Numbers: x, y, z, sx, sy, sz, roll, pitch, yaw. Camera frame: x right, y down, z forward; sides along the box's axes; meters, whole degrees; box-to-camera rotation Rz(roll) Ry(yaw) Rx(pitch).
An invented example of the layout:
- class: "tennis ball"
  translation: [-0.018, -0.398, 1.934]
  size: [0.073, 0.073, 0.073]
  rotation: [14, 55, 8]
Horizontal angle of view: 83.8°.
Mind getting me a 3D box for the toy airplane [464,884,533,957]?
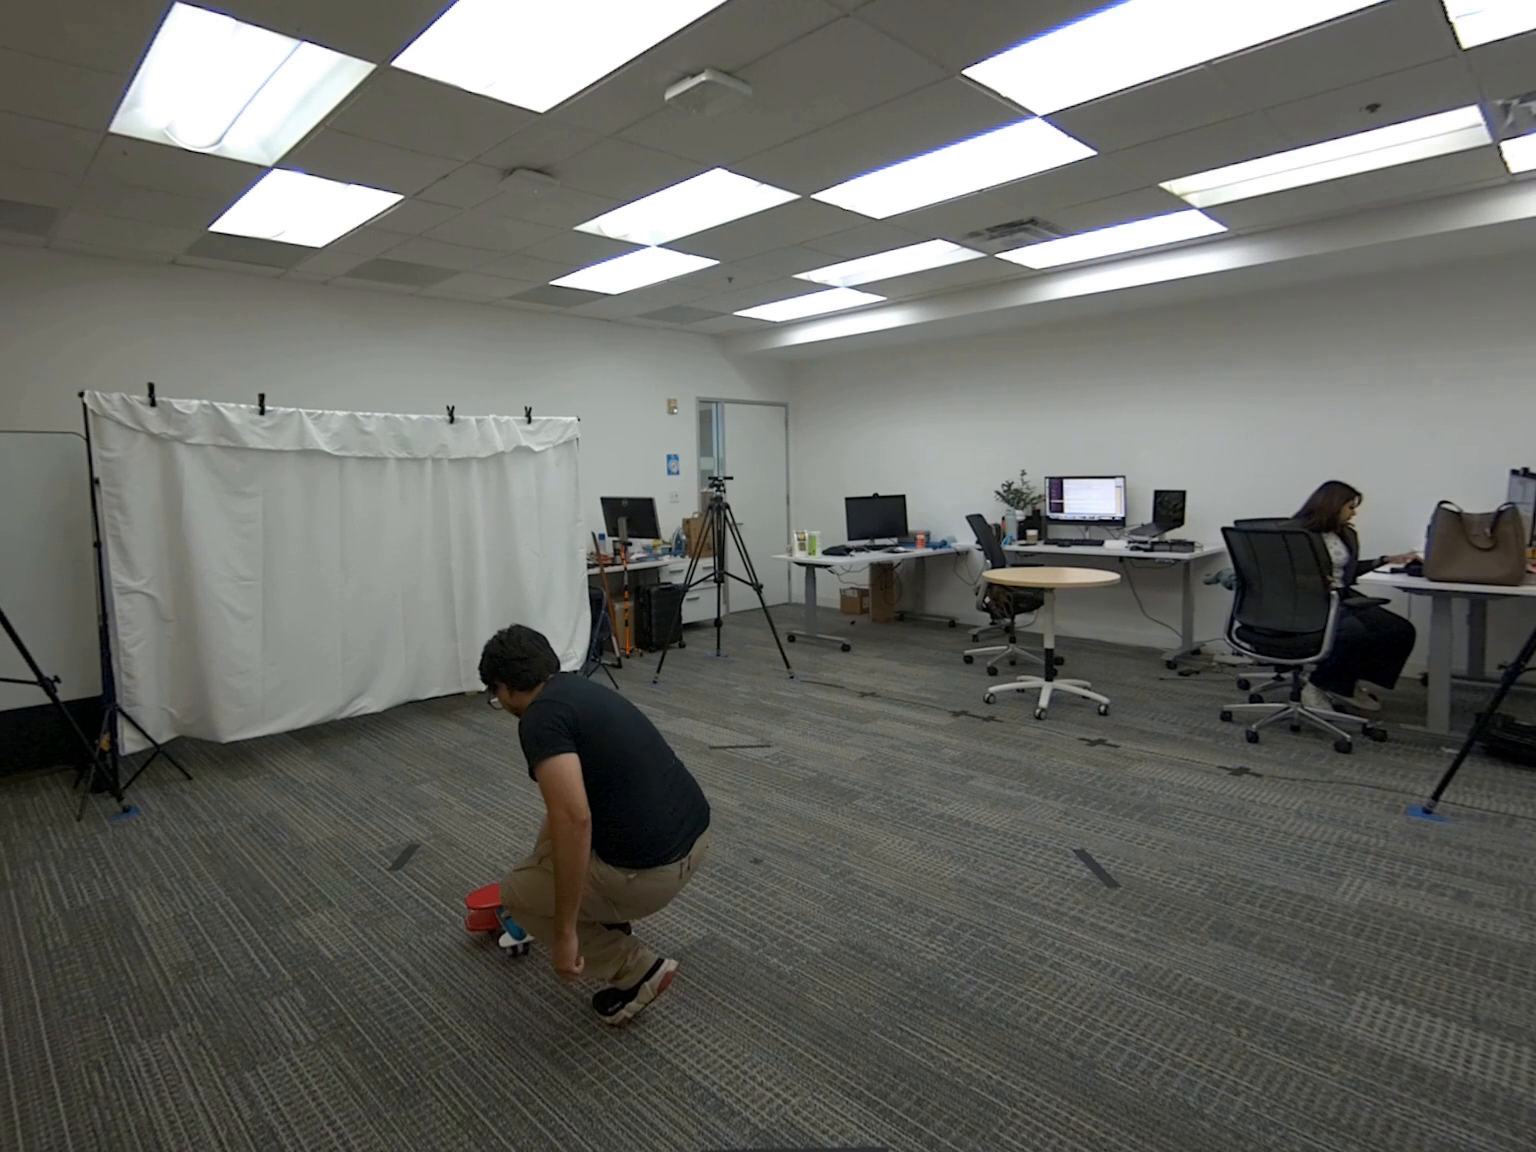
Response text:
- class: "toy airplane"
  translation: [-0.772, 1.037, 2.620]
  size: [0.266, 0.156, 0.245]
  rotation: [3, 7, 33]
